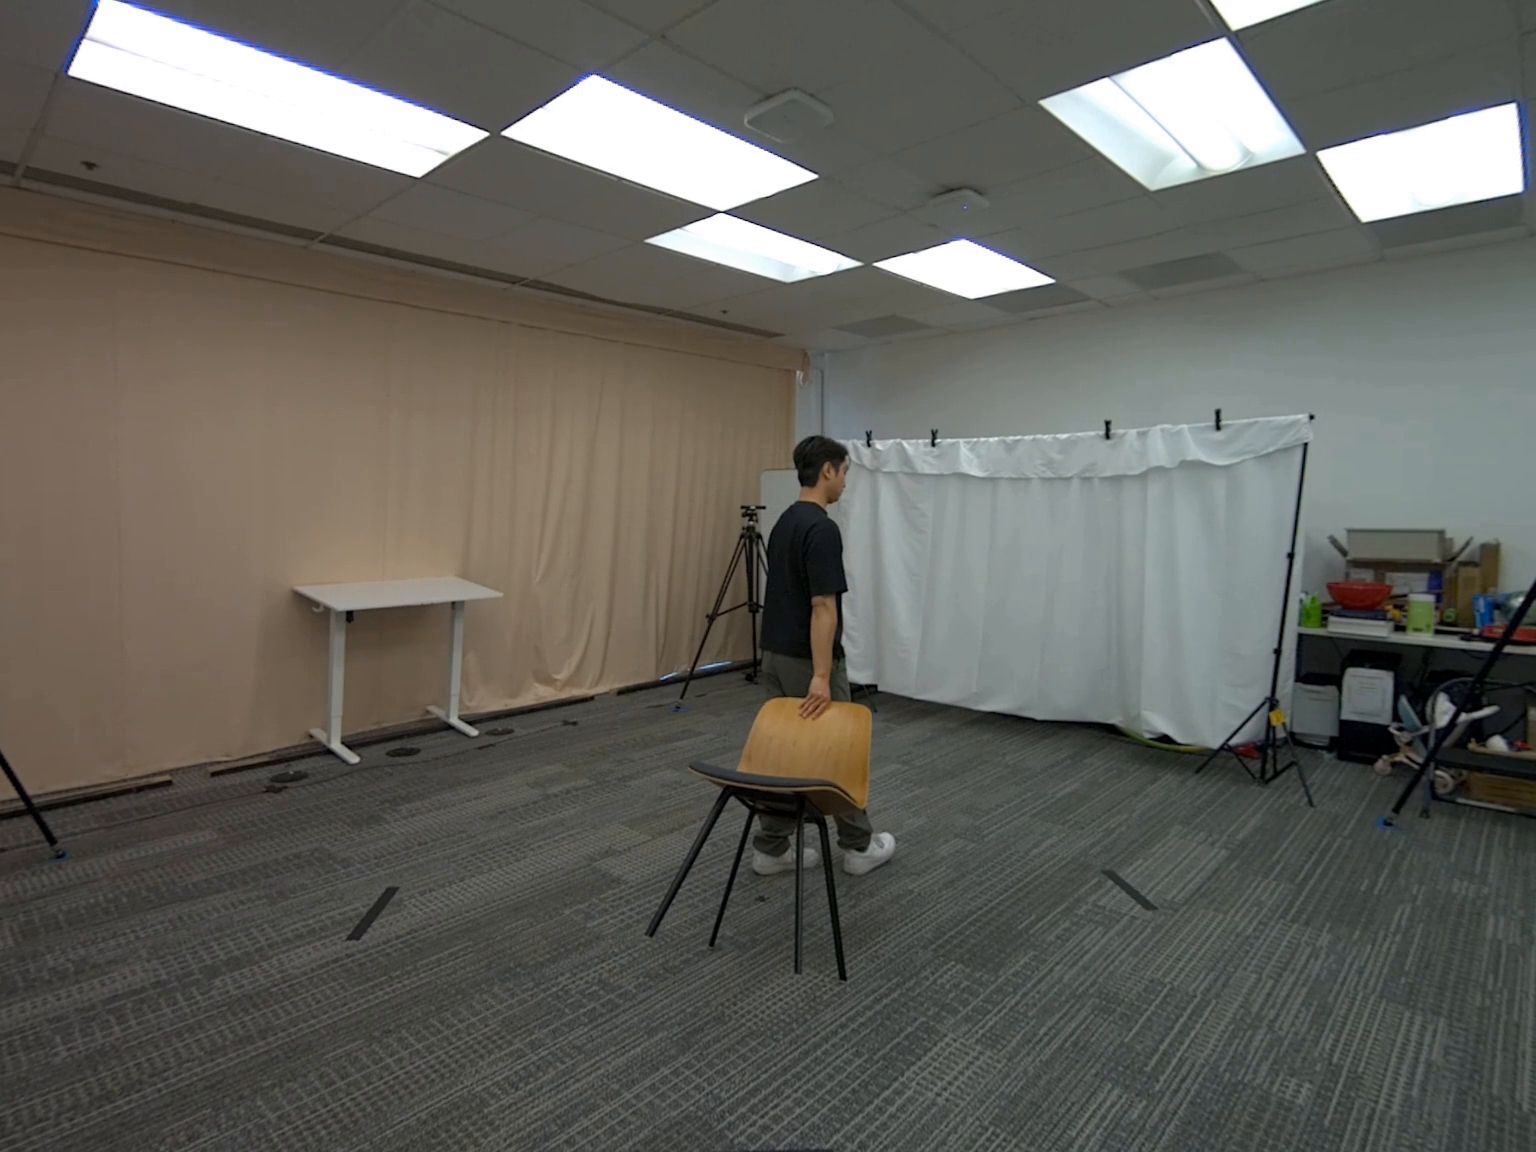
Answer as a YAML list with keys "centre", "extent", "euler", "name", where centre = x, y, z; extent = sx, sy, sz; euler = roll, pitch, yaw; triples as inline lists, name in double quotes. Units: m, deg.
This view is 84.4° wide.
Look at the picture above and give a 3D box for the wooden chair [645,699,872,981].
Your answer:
- centre: [0.029, 0.692, 2.534]
  extent: [0.490, 0.884, 0.506]
  euler: [1, -29, 25]
  name: "wooden chair"
